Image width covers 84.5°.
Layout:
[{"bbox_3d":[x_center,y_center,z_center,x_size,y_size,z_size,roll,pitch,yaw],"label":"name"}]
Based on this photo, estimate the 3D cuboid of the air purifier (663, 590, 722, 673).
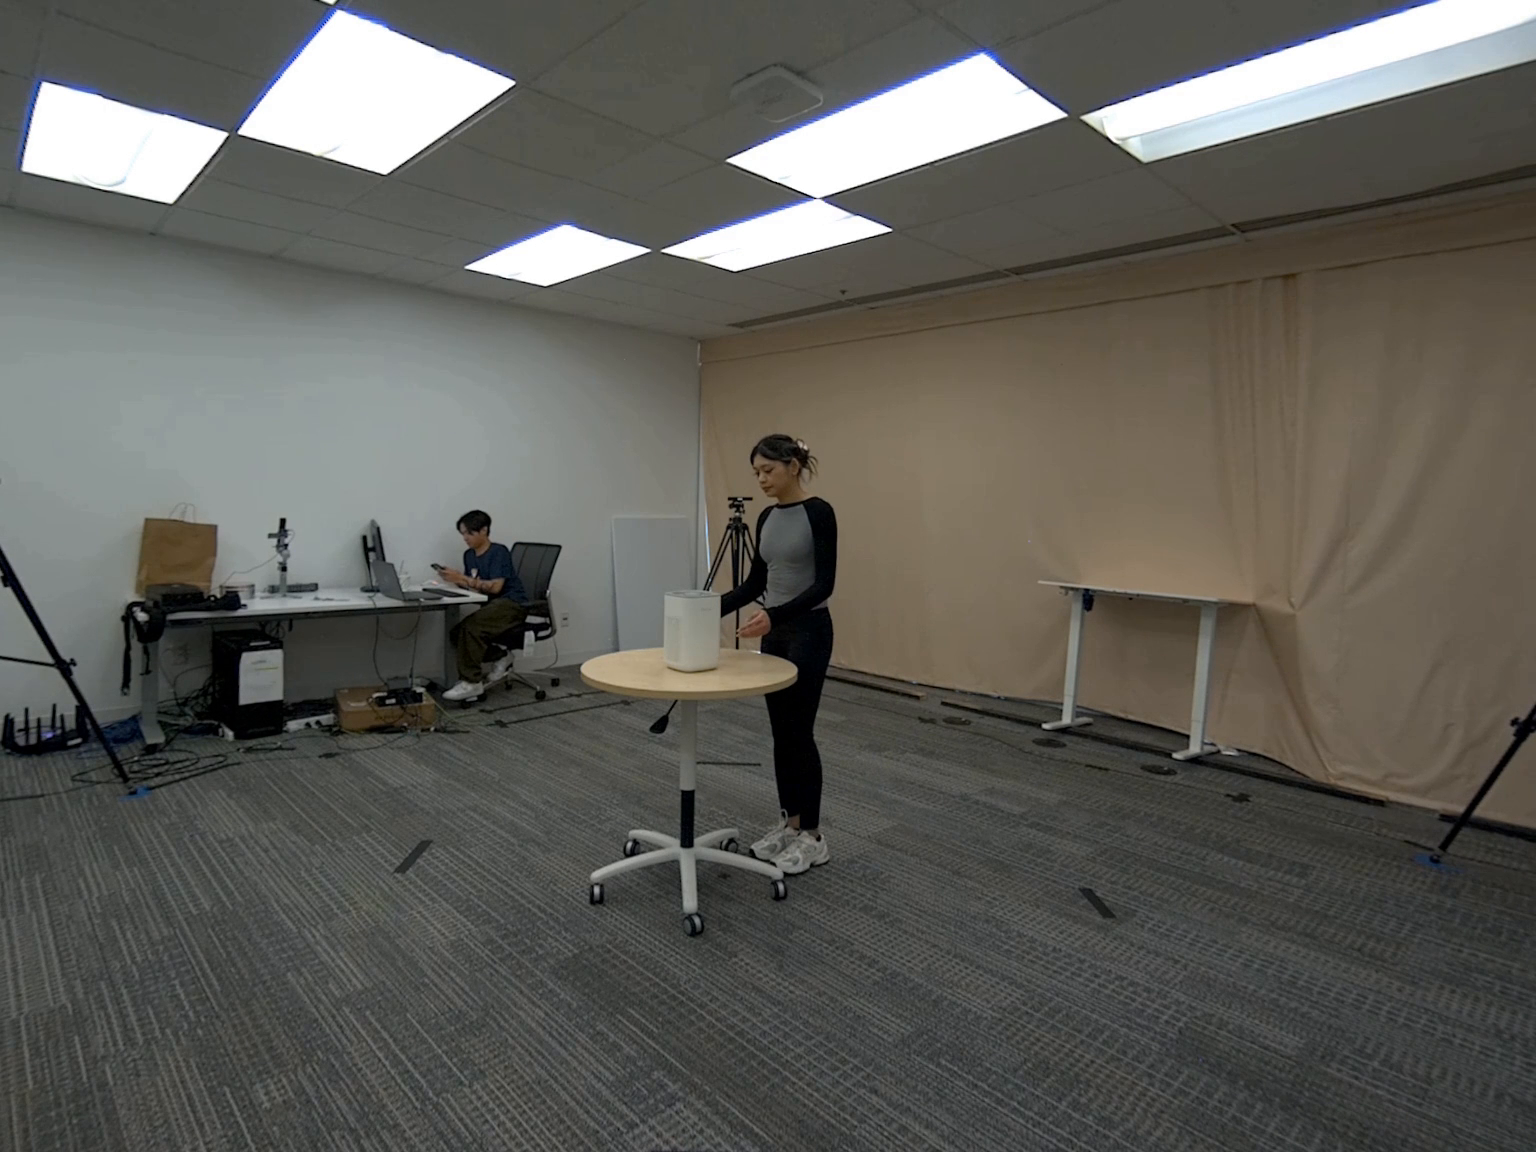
[{"bbox_3d":[-0.273,0.194,2.956,0.167,0.264,0.176,-3,5,-42],"label":"air purifier"}]
